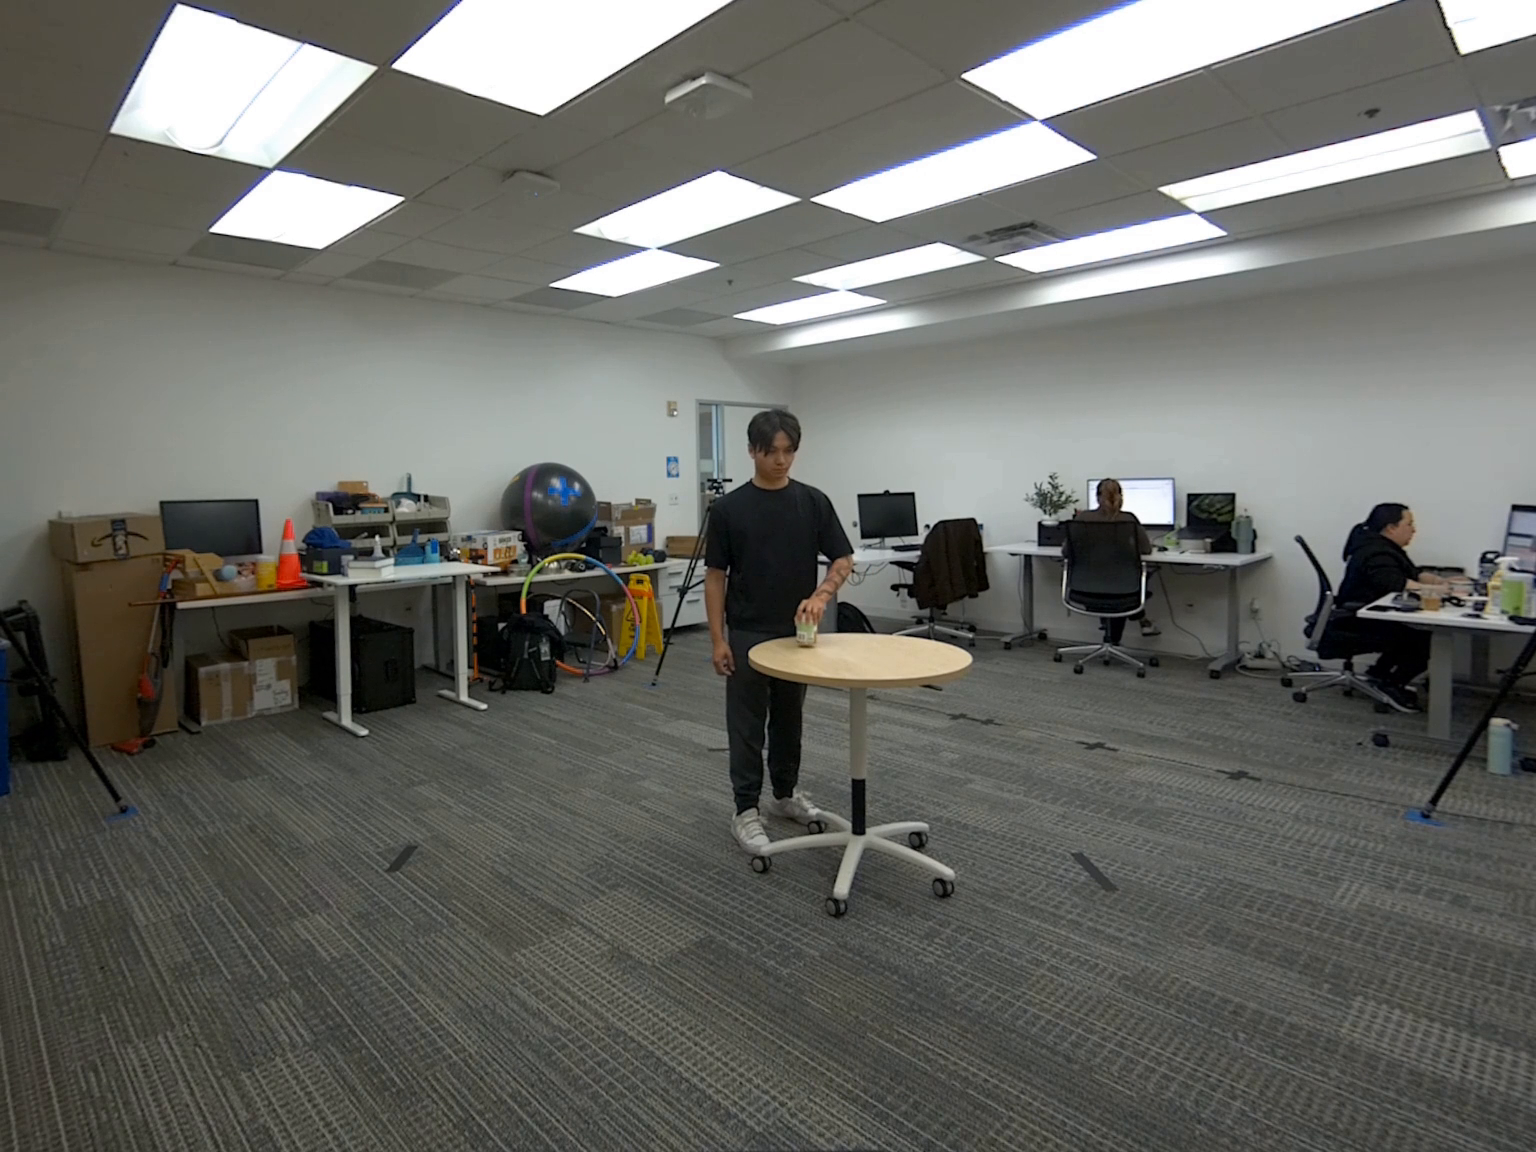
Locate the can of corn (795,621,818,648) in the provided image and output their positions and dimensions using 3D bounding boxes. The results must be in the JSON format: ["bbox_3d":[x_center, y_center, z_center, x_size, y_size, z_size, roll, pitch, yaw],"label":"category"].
[{"bbox_3d":[0.140,0.192,3.104,0.074,0.111,0.074,0,0,-2],"label":"can of corn"}]
